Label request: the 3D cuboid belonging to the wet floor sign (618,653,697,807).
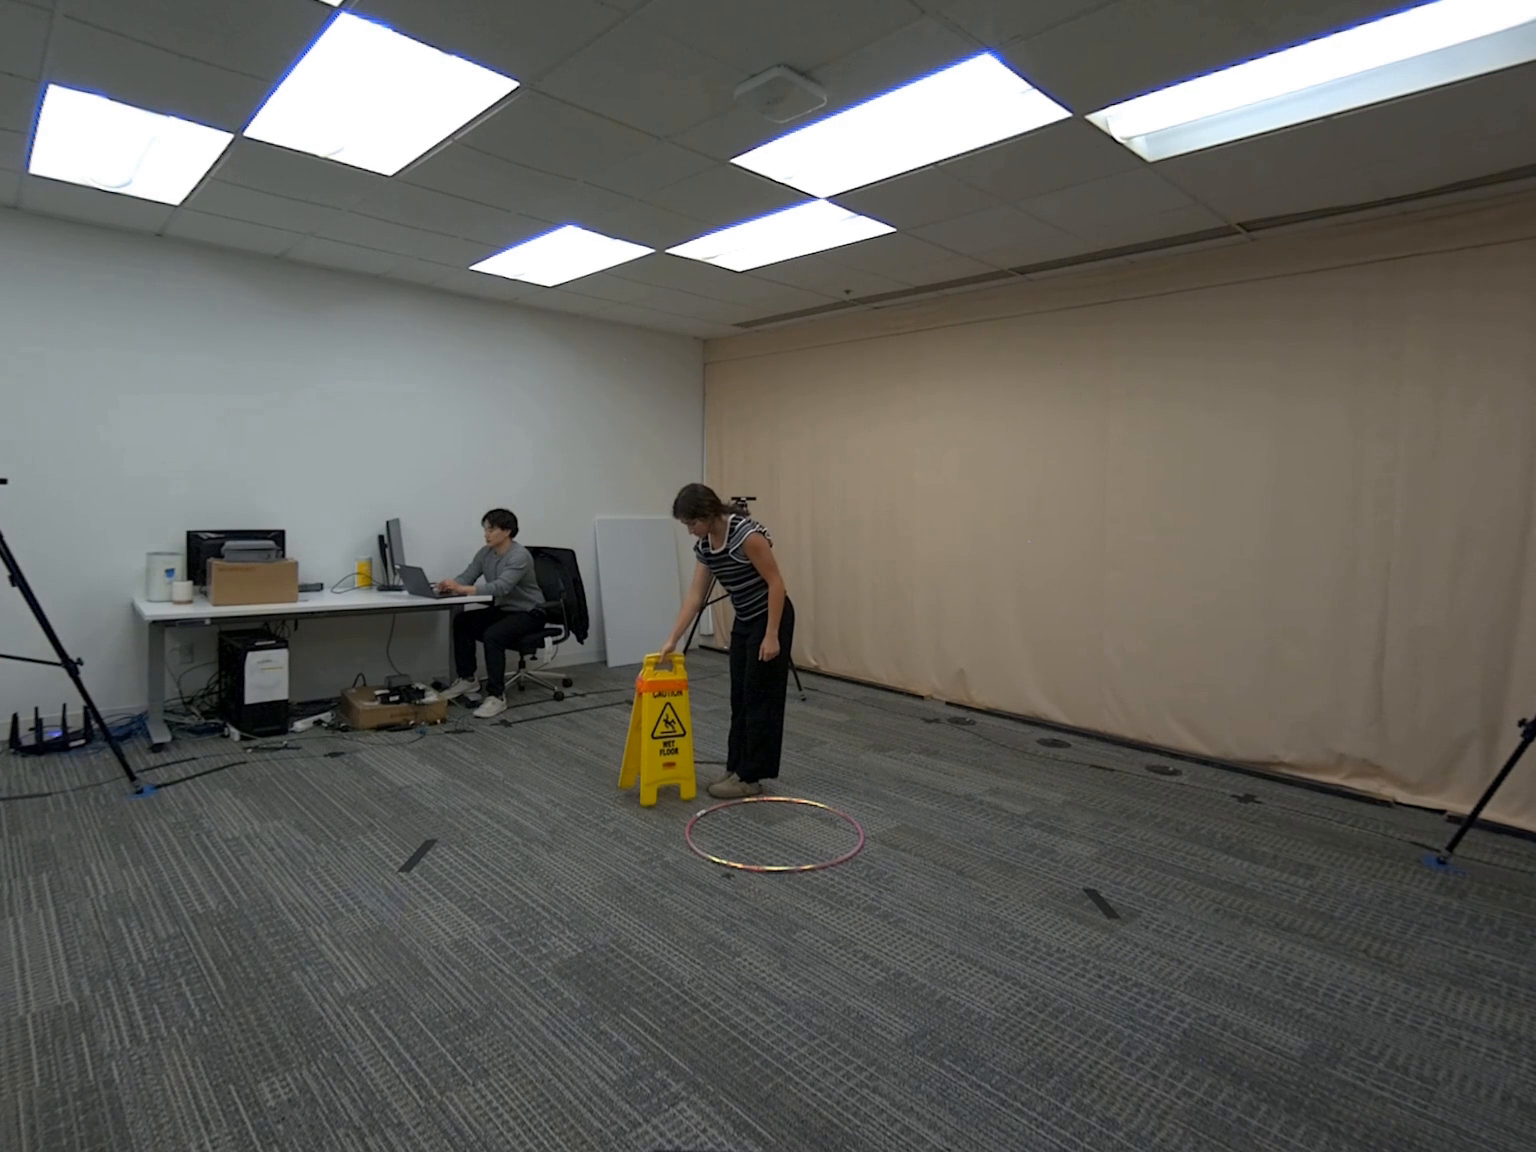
[{"bbox_3d":[-0.504,0.680,3.879,0.276,0.644,0.297,1,5,-32],"label":"wet floor sign"}]
